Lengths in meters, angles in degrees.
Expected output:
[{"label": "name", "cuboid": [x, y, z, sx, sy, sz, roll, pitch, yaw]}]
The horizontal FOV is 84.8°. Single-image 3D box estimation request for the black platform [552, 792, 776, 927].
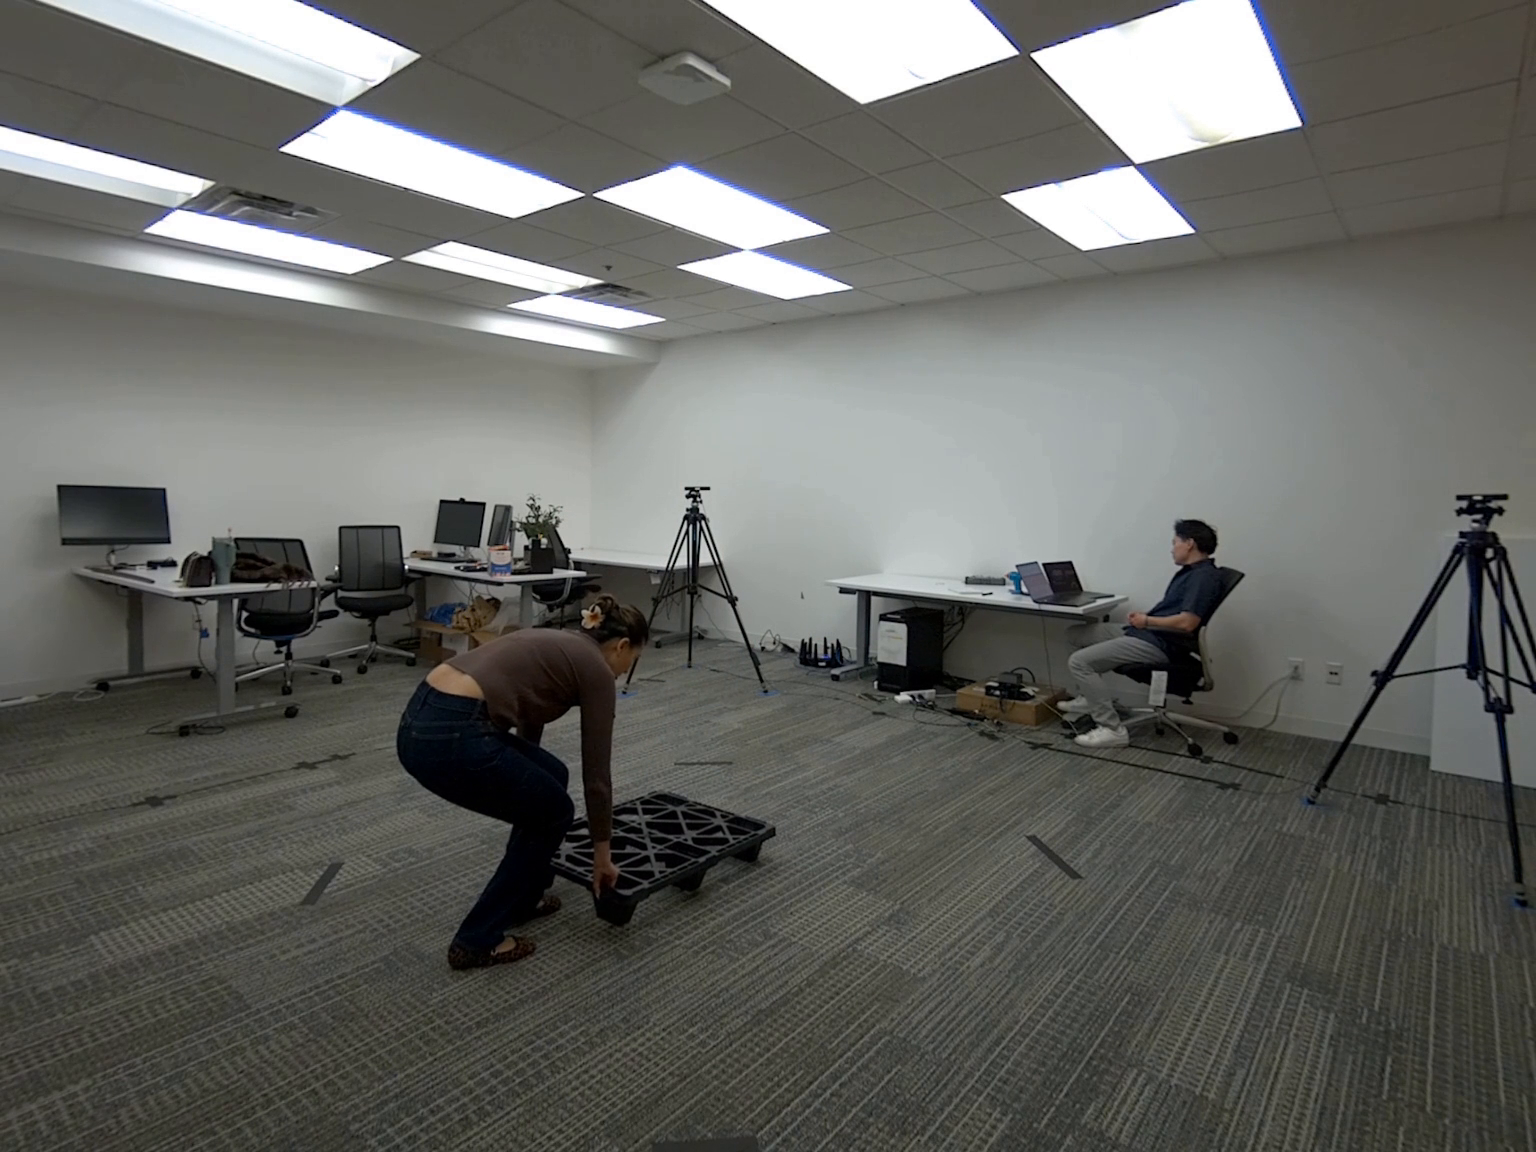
[{"label": "black platform", "cuboid": [-0.451, 0.990, 3.053, 0.625, 0.143, 0.781, 4, 4, 36]}]
